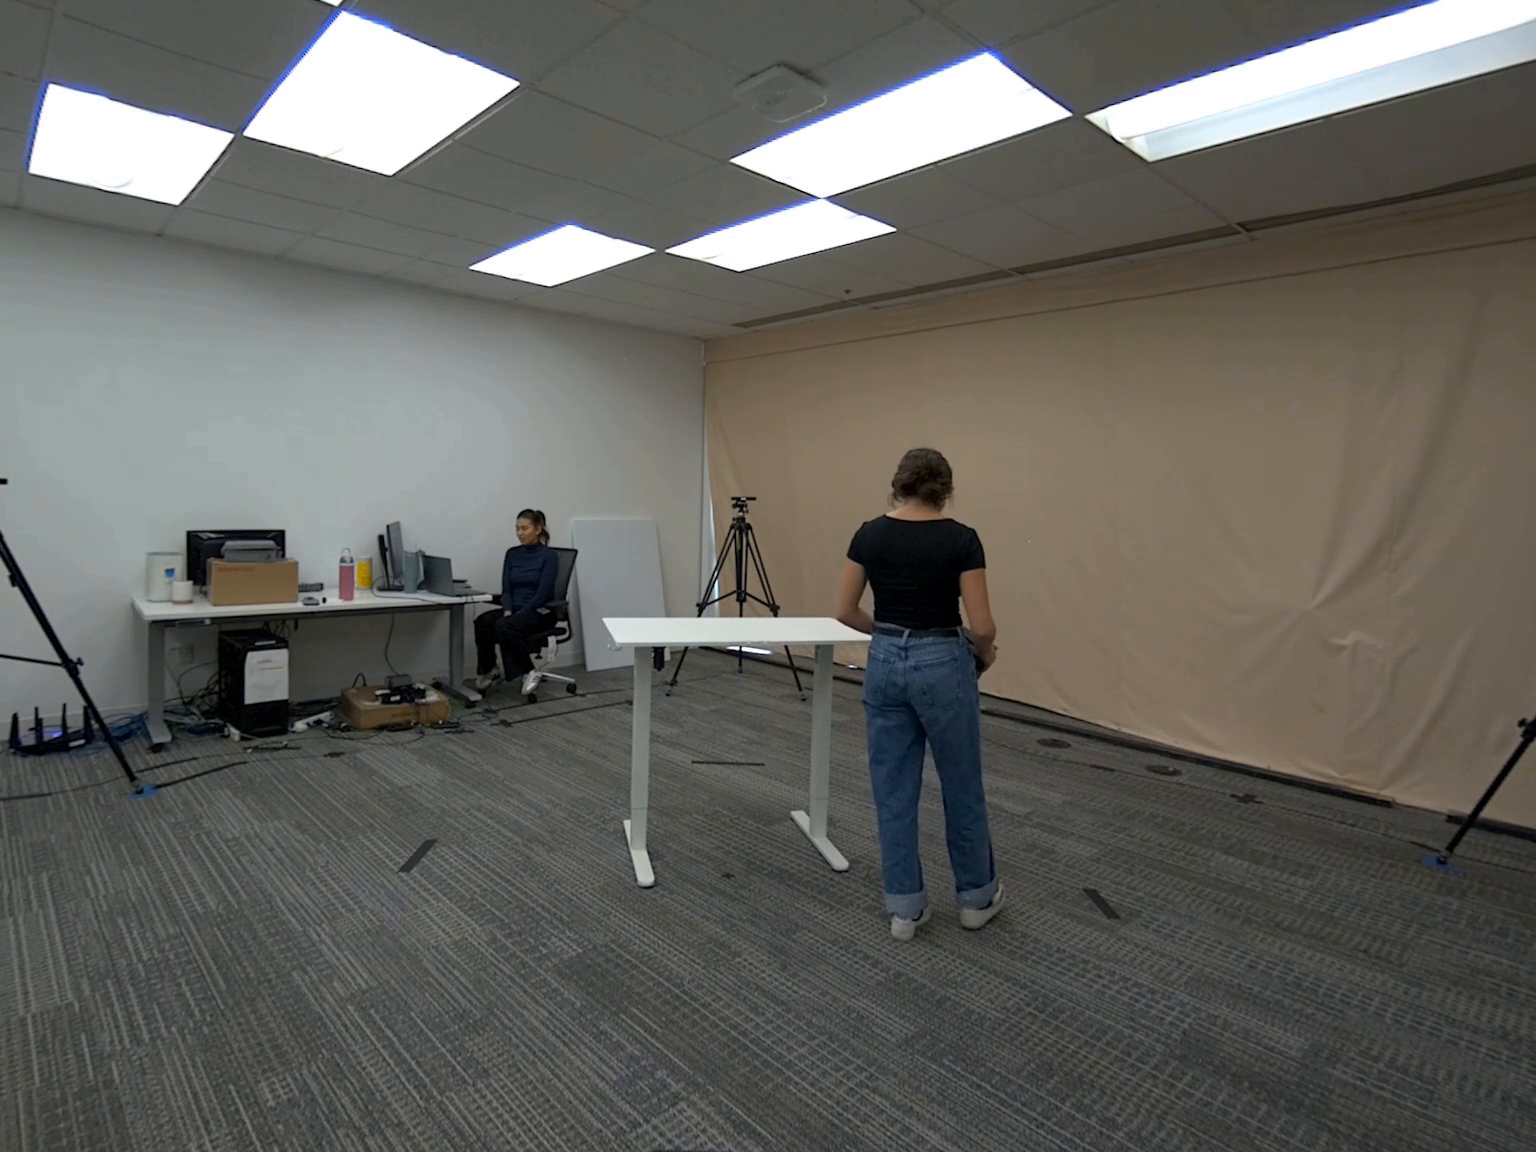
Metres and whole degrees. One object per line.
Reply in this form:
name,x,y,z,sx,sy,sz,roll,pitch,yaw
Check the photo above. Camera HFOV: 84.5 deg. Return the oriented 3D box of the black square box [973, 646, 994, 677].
black square box,0.648,0.271,2.934,0.222,0.155,0.224,31,19,20
